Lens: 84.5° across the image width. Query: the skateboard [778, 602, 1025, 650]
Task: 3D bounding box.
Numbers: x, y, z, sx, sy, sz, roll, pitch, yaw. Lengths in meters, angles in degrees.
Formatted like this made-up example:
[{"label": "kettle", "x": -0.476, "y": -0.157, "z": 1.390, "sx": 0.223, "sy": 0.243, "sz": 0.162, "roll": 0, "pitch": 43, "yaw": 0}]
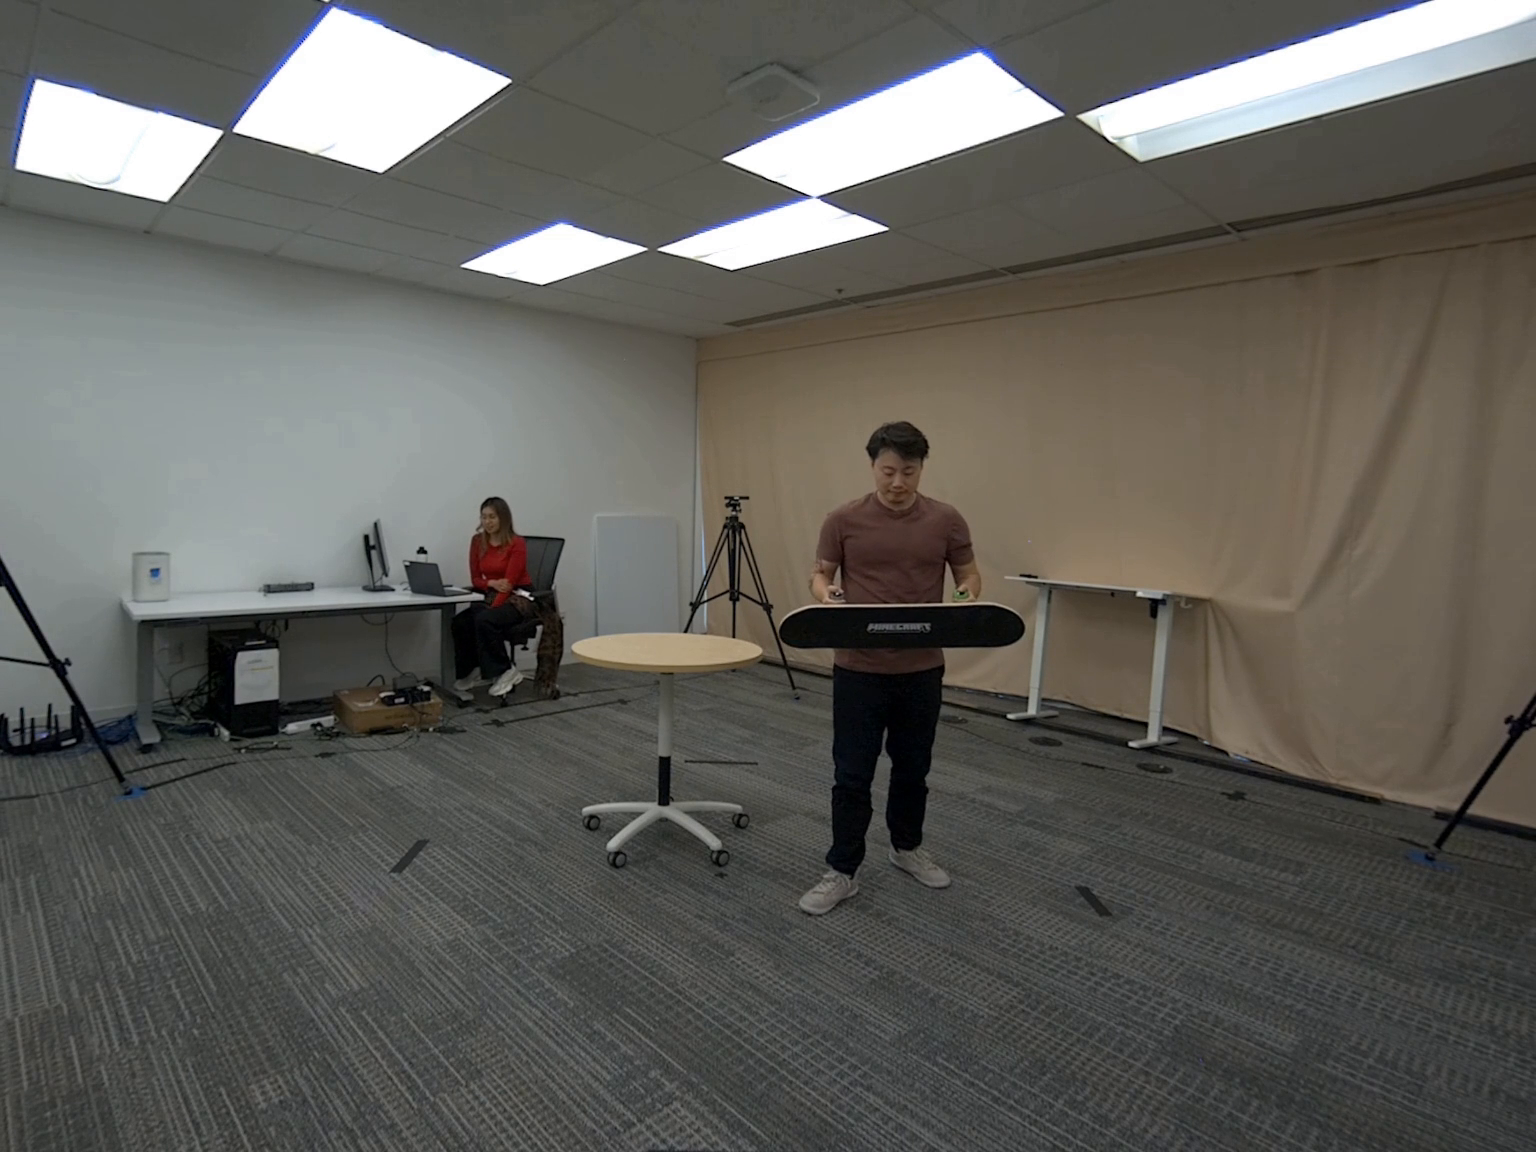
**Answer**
[{"label": "skateboard", "x": 0.416, "y": 0.142, "z": 2.778, "sx": 0.789, "sy": 0.189, "sz": 0.112, "roll": -1, "pitch": 40, "yaw": 5}]
